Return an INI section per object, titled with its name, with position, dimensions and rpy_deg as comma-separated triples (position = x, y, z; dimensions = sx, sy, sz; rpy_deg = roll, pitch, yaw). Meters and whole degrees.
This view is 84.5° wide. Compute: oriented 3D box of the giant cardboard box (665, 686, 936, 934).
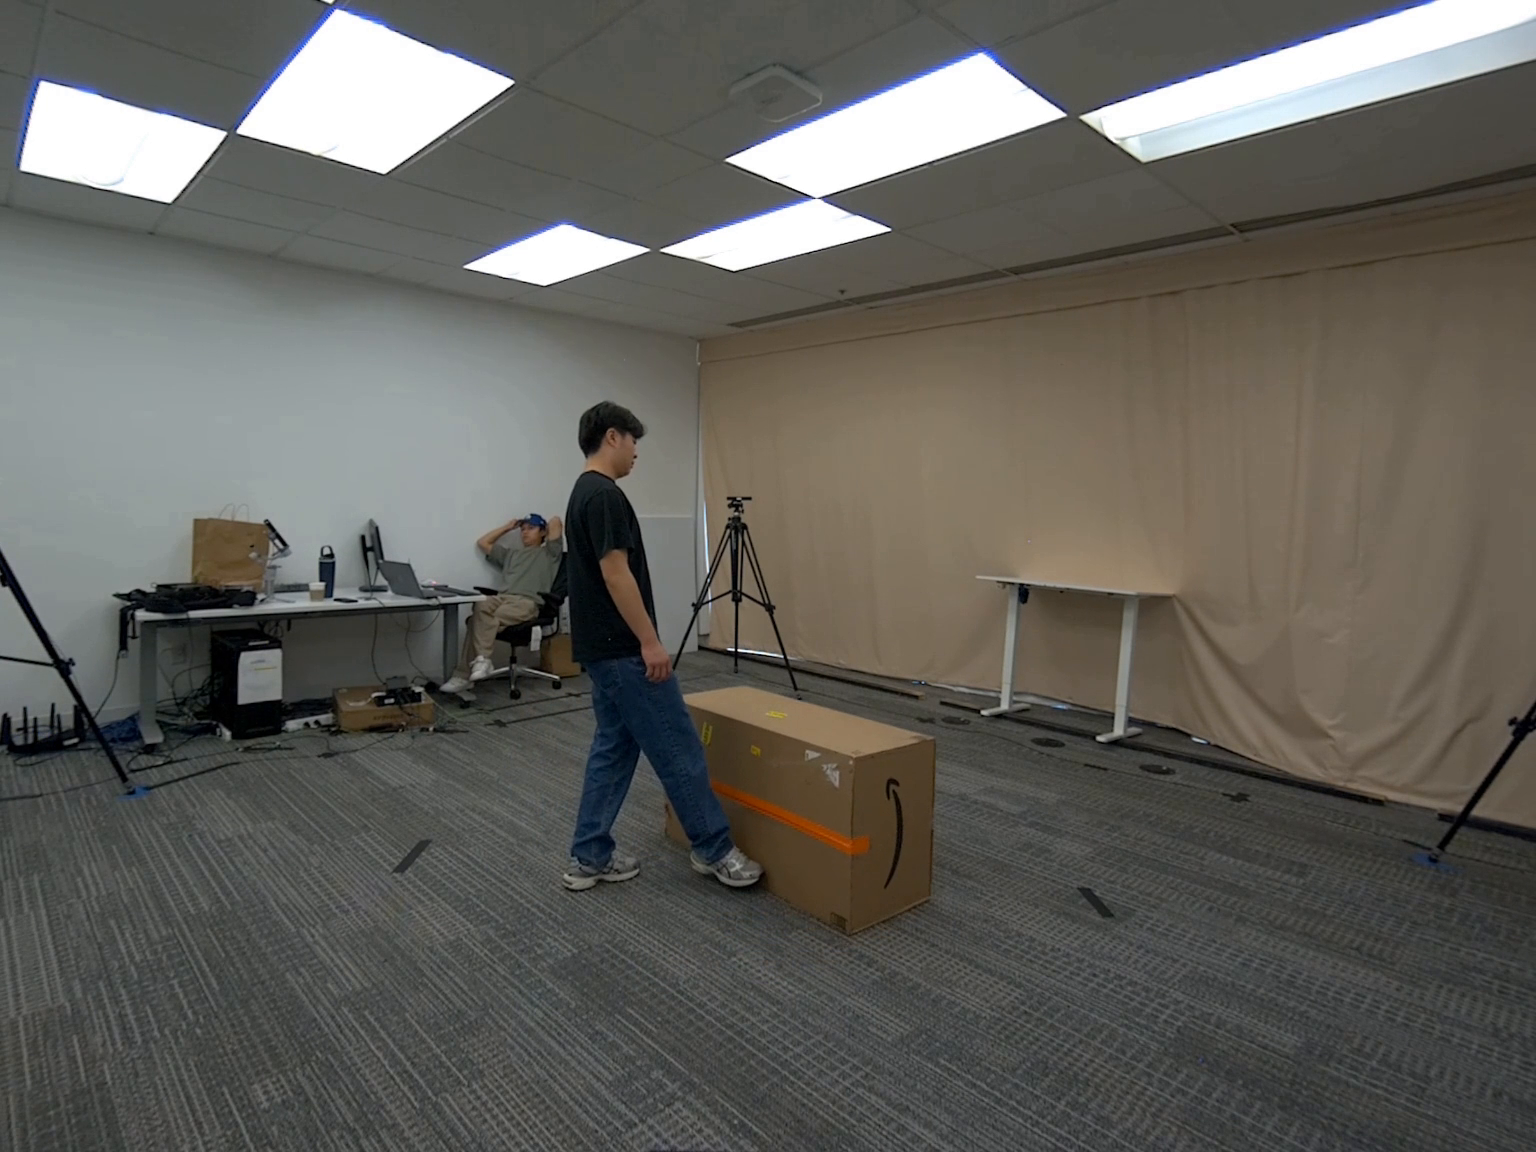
[giant cardboard box]
position = 0.080, 0.818, 3.199
dimensions = 0.437, 0.582, 1.053
rpy_deg = -3, 6, -41
